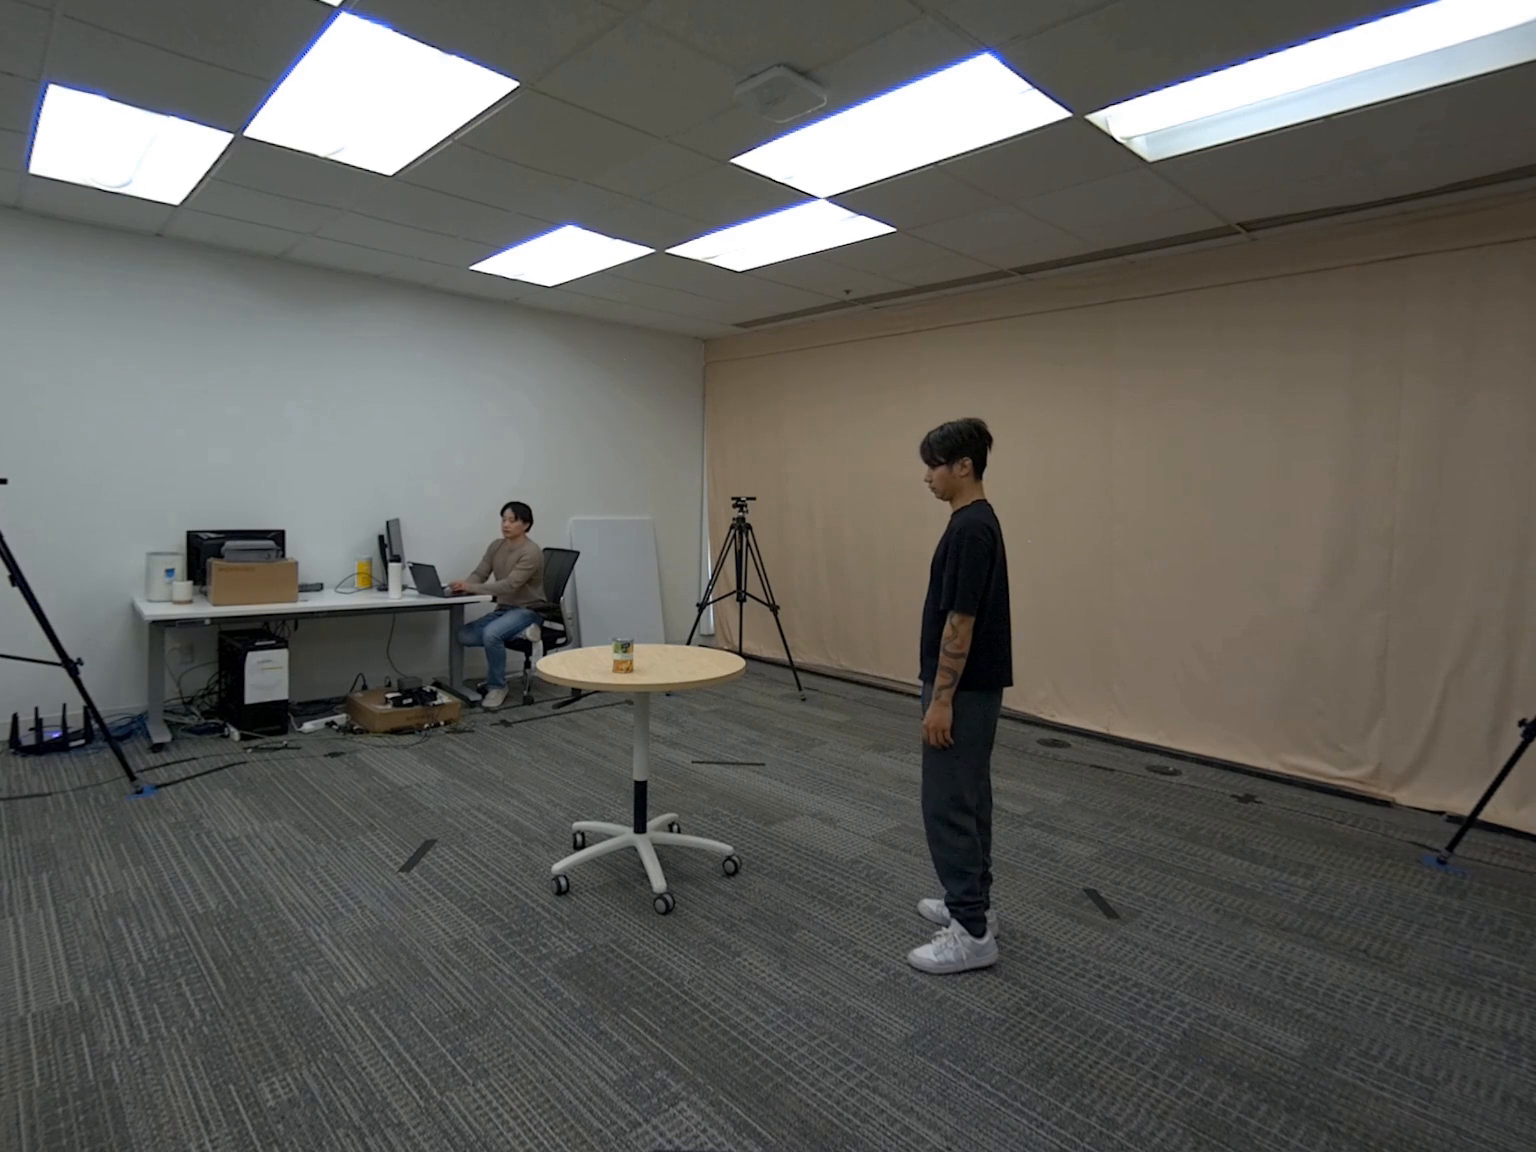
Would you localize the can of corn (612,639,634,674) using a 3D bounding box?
[{"bbox_3d":[-0.505,0.275,2.922,0.074,0.111,0.074,0,5,-1],"label":"can of corn"}]
